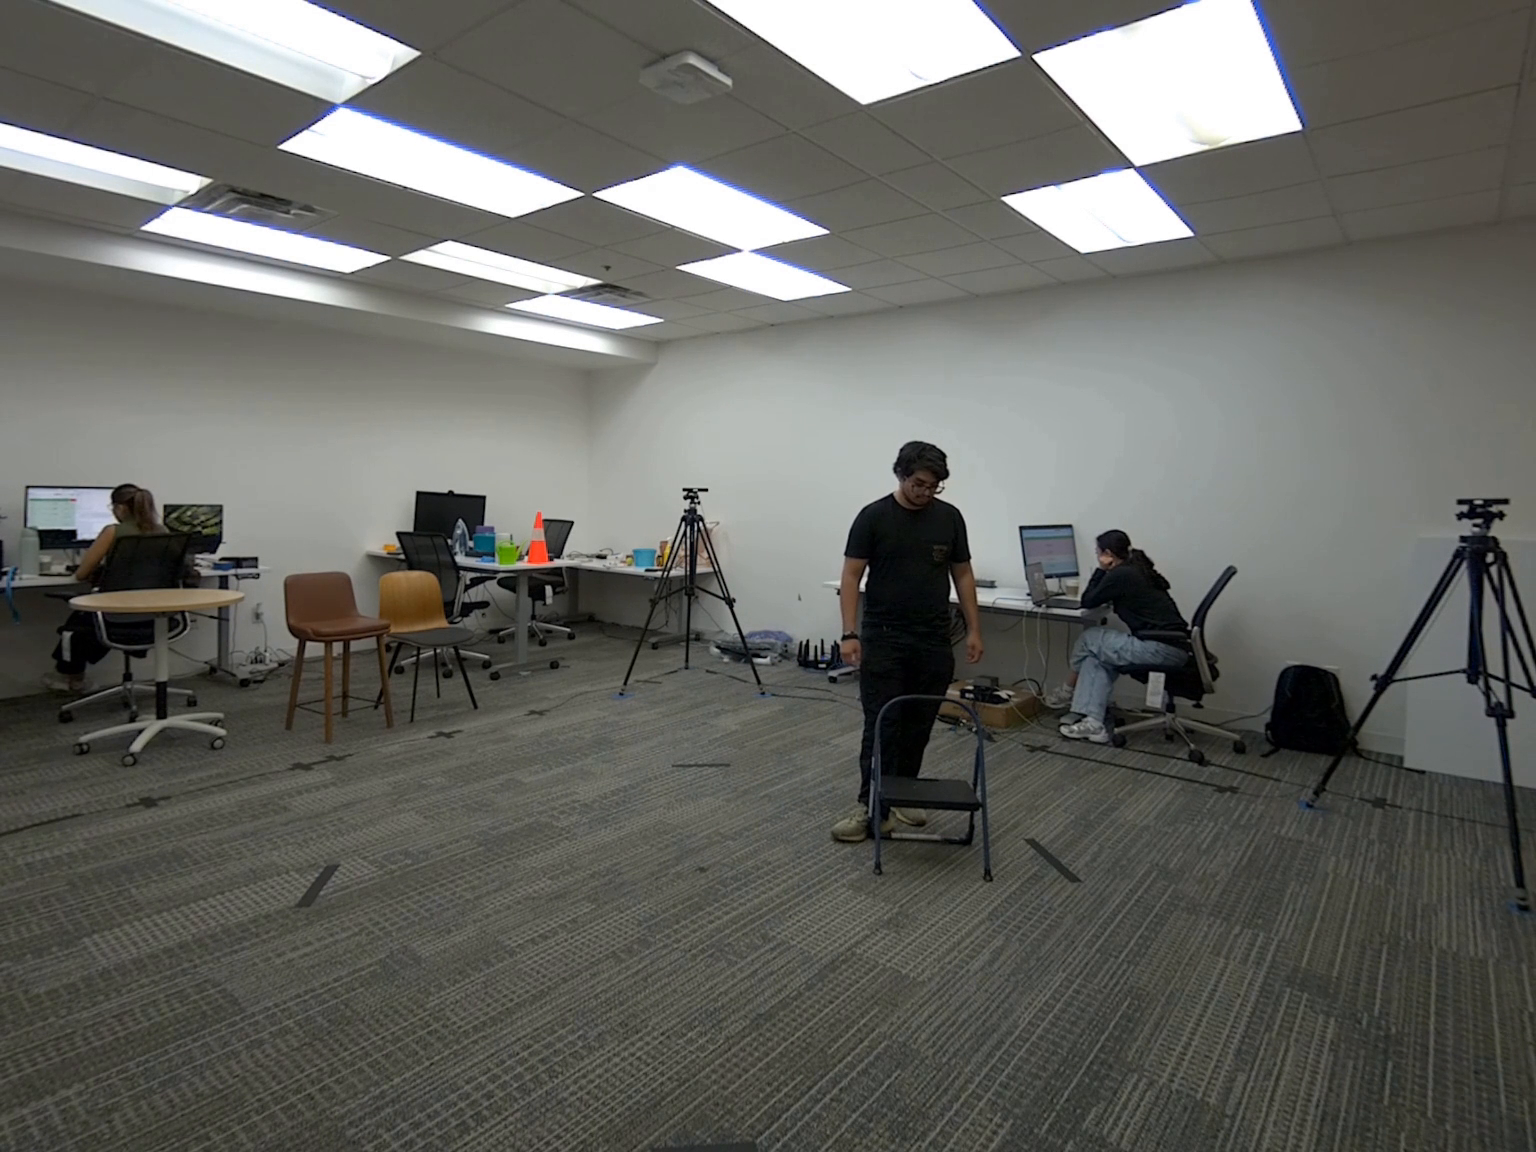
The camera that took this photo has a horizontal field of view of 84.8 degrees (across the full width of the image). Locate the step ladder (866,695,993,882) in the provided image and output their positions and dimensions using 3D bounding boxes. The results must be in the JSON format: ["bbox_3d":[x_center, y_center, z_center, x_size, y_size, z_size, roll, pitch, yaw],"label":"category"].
[{"bbox_3d":[0.608,0.779,3.252,0.433,0.604,0.349,2,3,4],"label":"step ladder"}]
